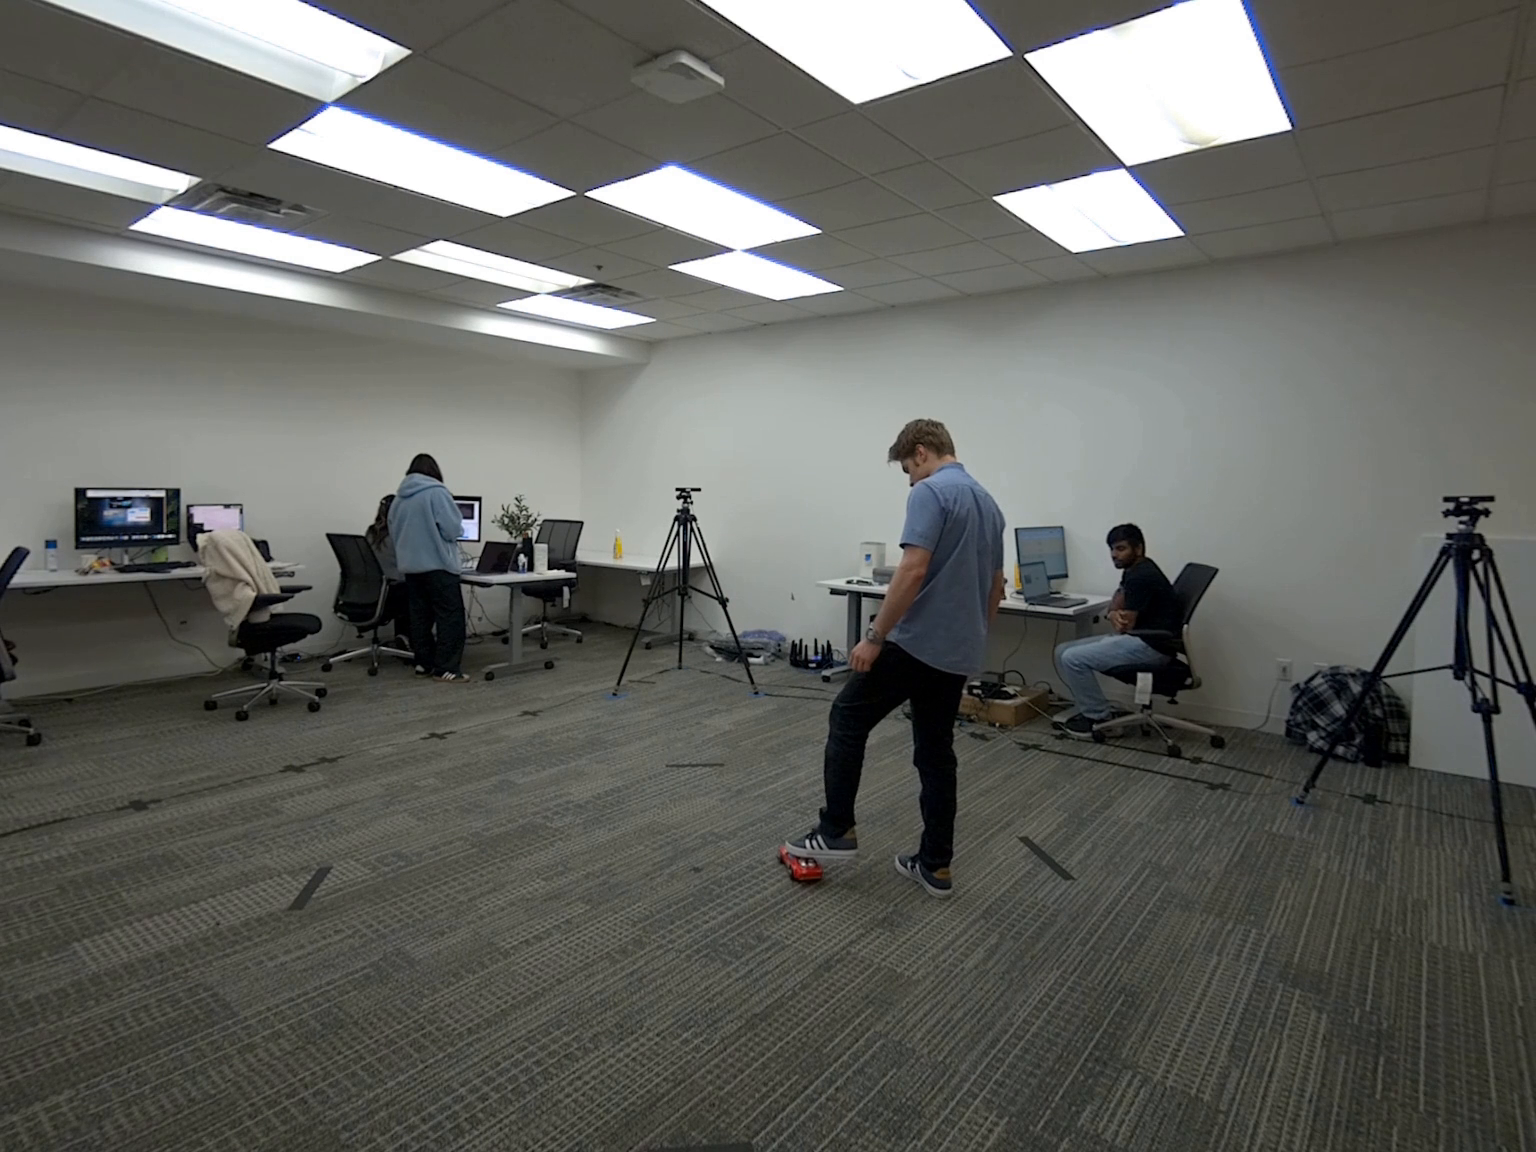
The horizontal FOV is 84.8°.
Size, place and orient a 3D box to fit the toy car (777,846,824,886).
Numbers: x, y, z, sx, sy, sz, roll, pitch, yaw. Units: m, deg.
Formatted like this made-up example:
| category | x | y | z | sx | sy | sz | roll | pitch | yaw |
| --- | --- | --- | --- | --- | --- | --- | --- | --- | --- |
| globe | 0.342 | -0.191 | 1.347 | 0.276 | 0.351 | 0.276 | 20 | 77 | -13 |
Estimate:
| category | x | y | z | sx | sy | sz | roll | pitch | yaw |
| --- | --- | --- | --- | --- | --- | --- | --- | --- | --- |
| toy car | 0.123 | 1.046 | 3.104 | 0.129 | 0.083 | 0.256 | 0 | -4 | -12 |
